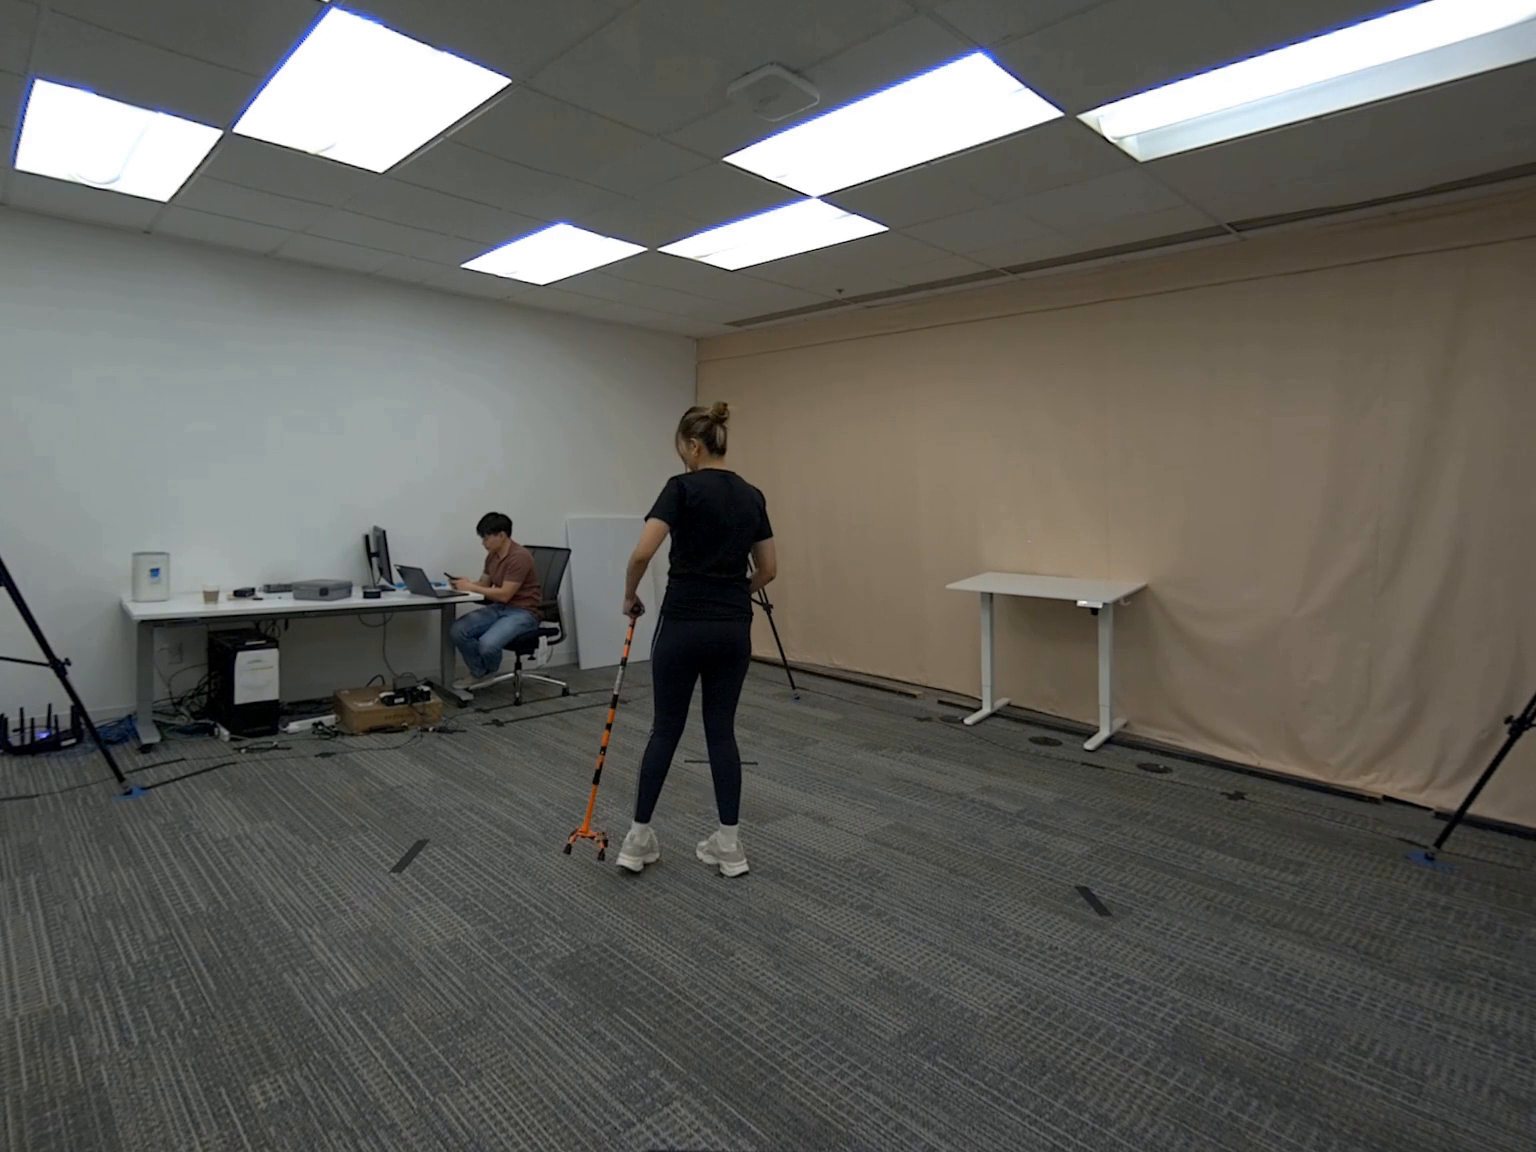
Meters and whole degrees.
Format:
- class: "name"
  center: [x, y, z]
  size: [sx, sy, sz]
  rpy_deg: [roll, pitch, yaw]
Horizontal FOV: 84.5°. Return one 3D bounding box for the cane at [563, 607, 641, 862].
- class: "cane"
  center: [-0.577, 0.565, 3.129]
  size: [0.151, 0.911, 0.207]
  rpy_deg: [12, -6, -7]
